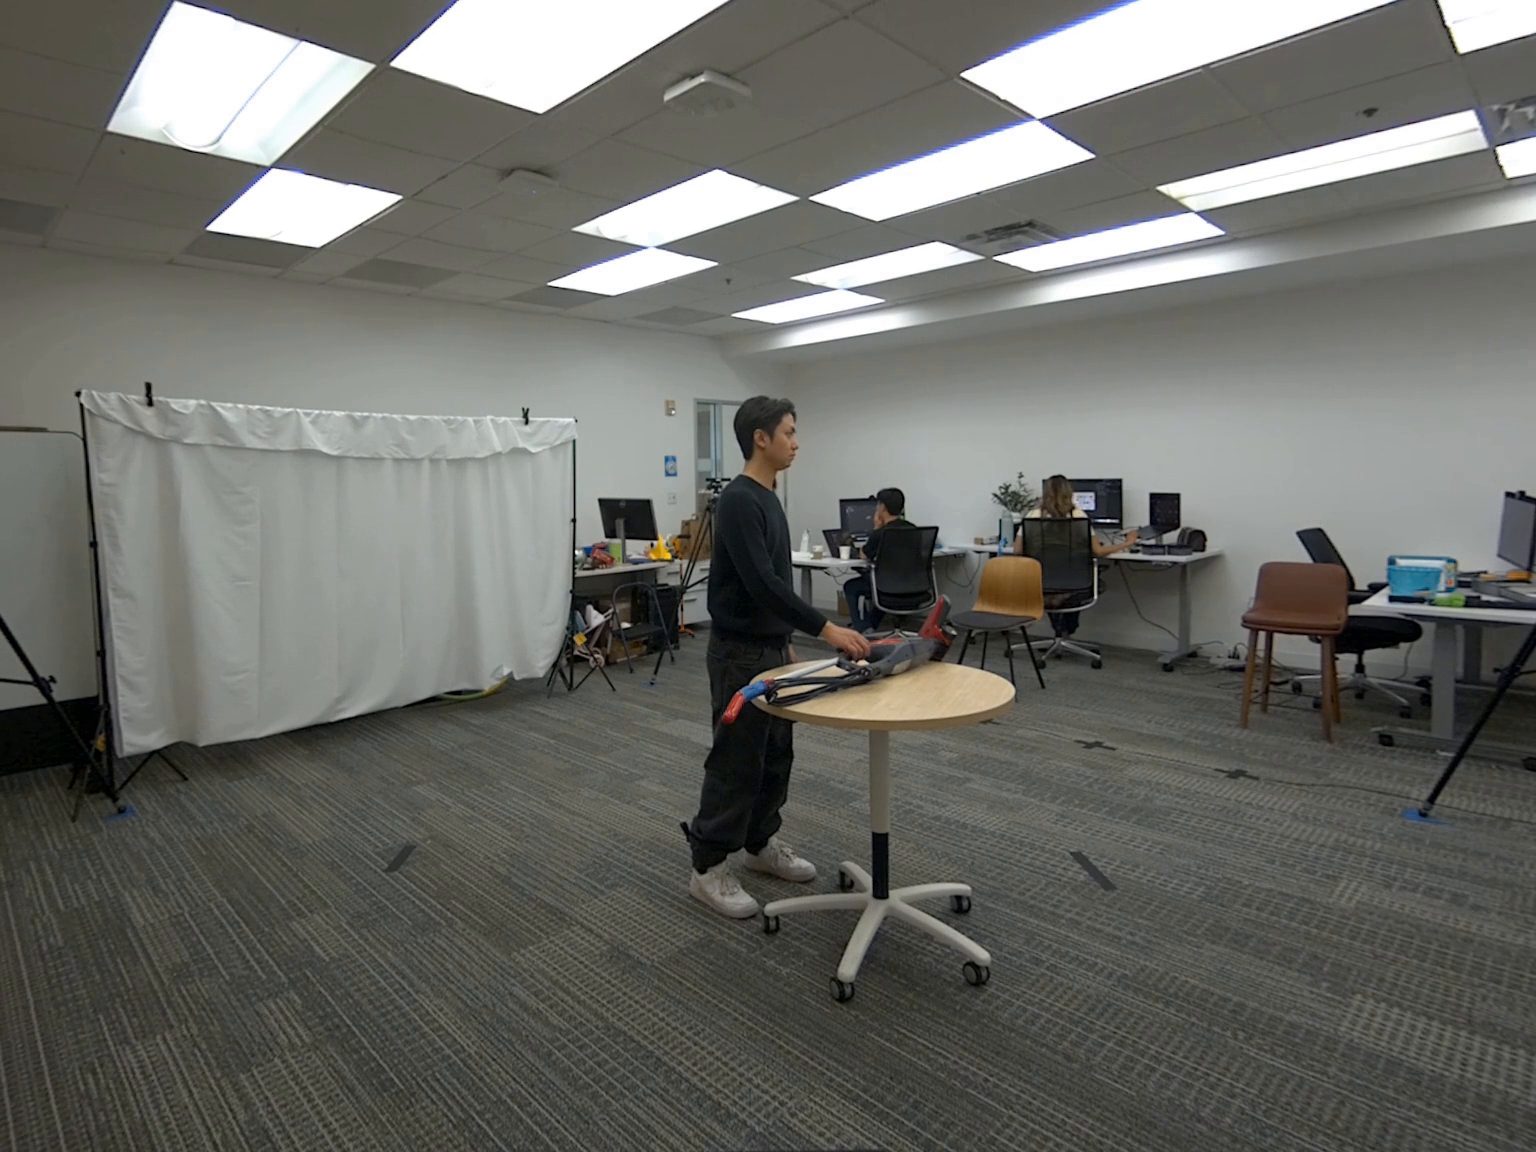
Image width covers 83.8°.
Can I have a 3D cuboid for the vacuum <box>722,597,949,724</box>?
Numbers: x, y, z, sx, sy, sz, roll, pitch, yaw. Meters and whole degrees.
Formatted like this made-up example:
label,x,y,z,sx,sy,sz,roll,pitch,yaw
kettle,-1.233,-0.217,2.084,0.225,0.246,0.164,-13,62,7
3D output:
label,x,y,z,sx,sy,sz,roll,pitch,yaw
vacuum,0.226,0.284,2.515,0.149,0.250,1.025,41,33,28
